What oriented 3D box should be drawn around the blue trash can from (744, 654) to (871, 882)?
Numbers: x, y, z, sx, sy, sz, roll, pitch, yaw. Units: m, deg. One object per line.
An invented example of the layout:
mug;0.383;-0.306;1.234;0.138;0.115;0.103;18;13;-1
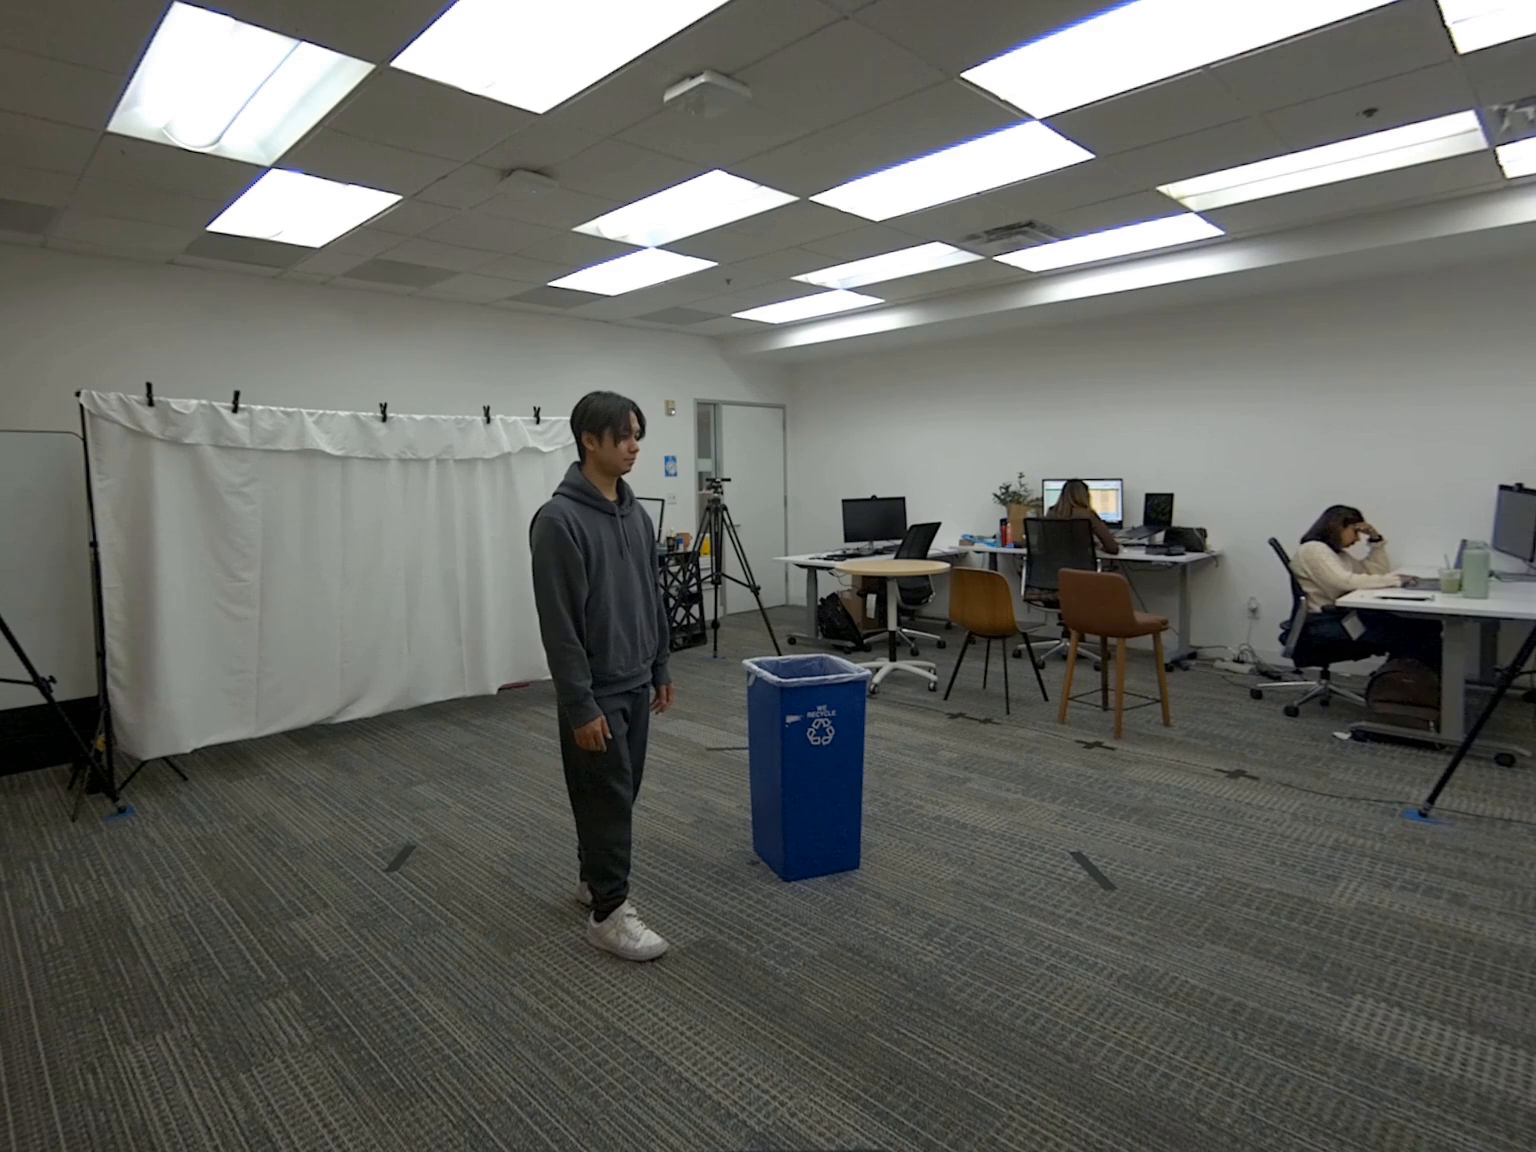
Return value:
blue trash can;0.140;0.679;3.119;0.367;0.711;0.387;-2;5;-21
